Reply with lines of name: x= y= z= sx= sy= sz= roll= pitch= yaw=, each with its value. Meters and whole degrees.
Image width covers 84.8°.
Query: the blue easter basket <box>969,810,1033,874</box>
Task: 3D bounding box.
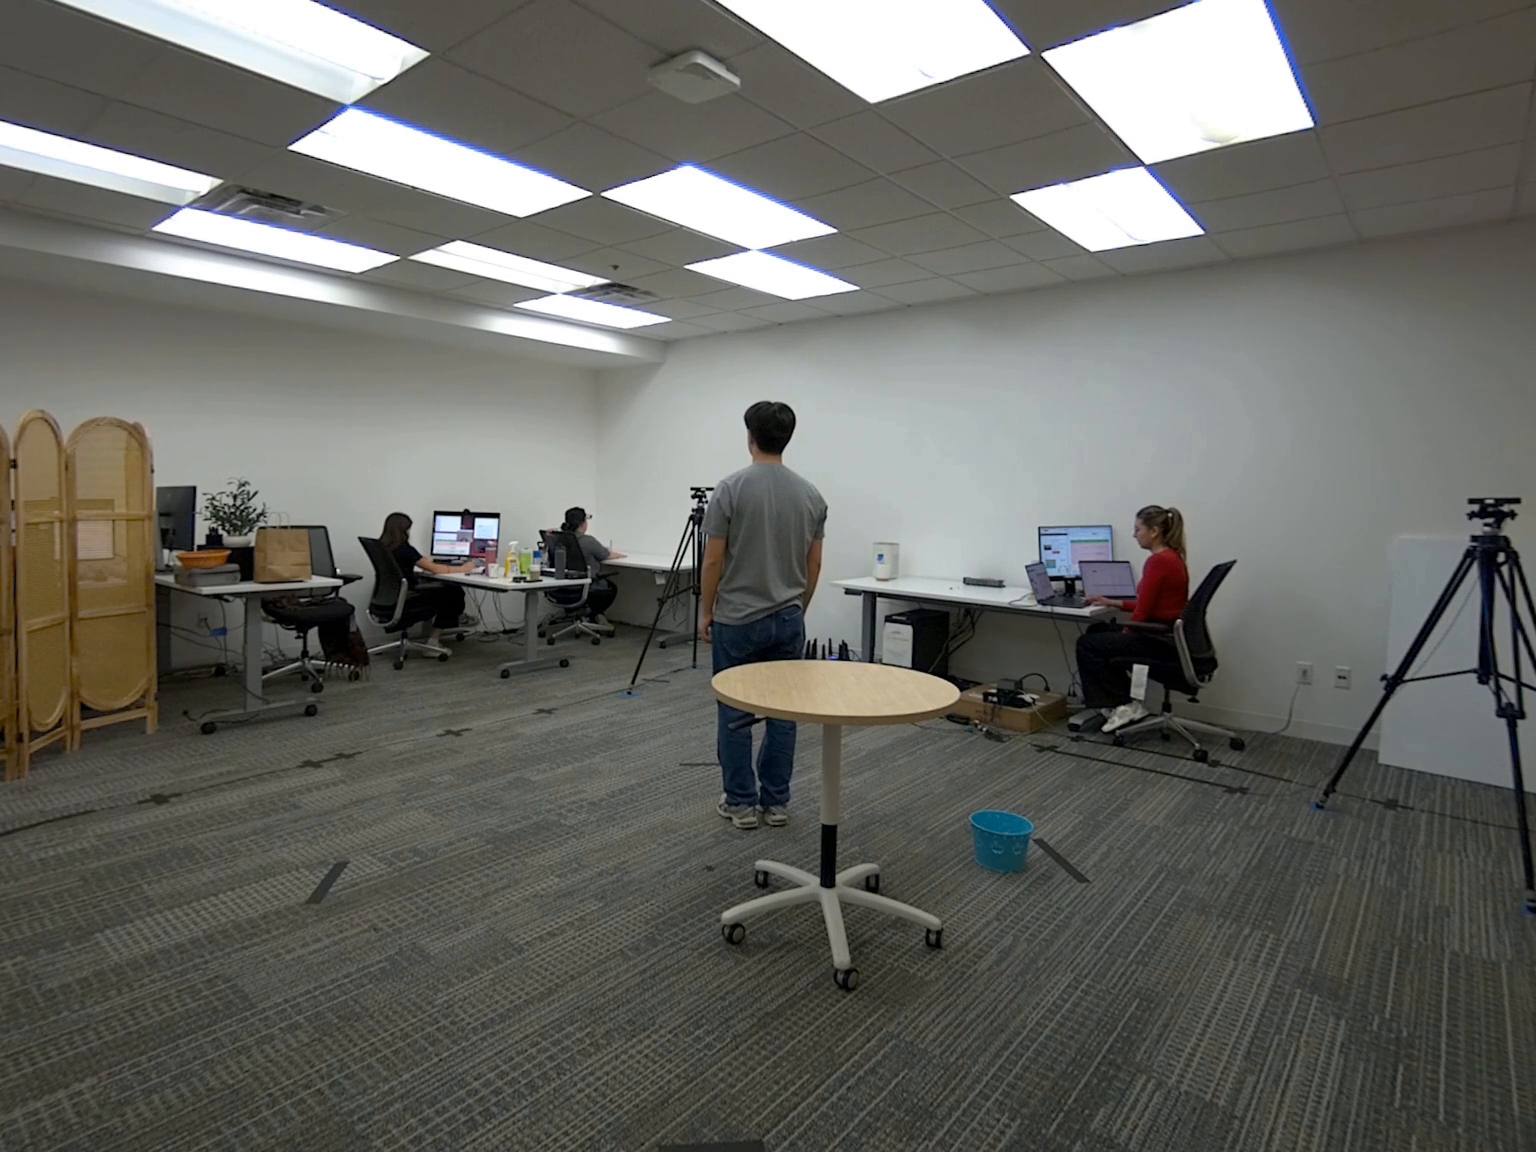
blue easter basket: x=0.885 y=1.001 z=3.227 sx=0.243 sy=0.155 sz=0.245 roll=0 pitch=6 yaw=-2
